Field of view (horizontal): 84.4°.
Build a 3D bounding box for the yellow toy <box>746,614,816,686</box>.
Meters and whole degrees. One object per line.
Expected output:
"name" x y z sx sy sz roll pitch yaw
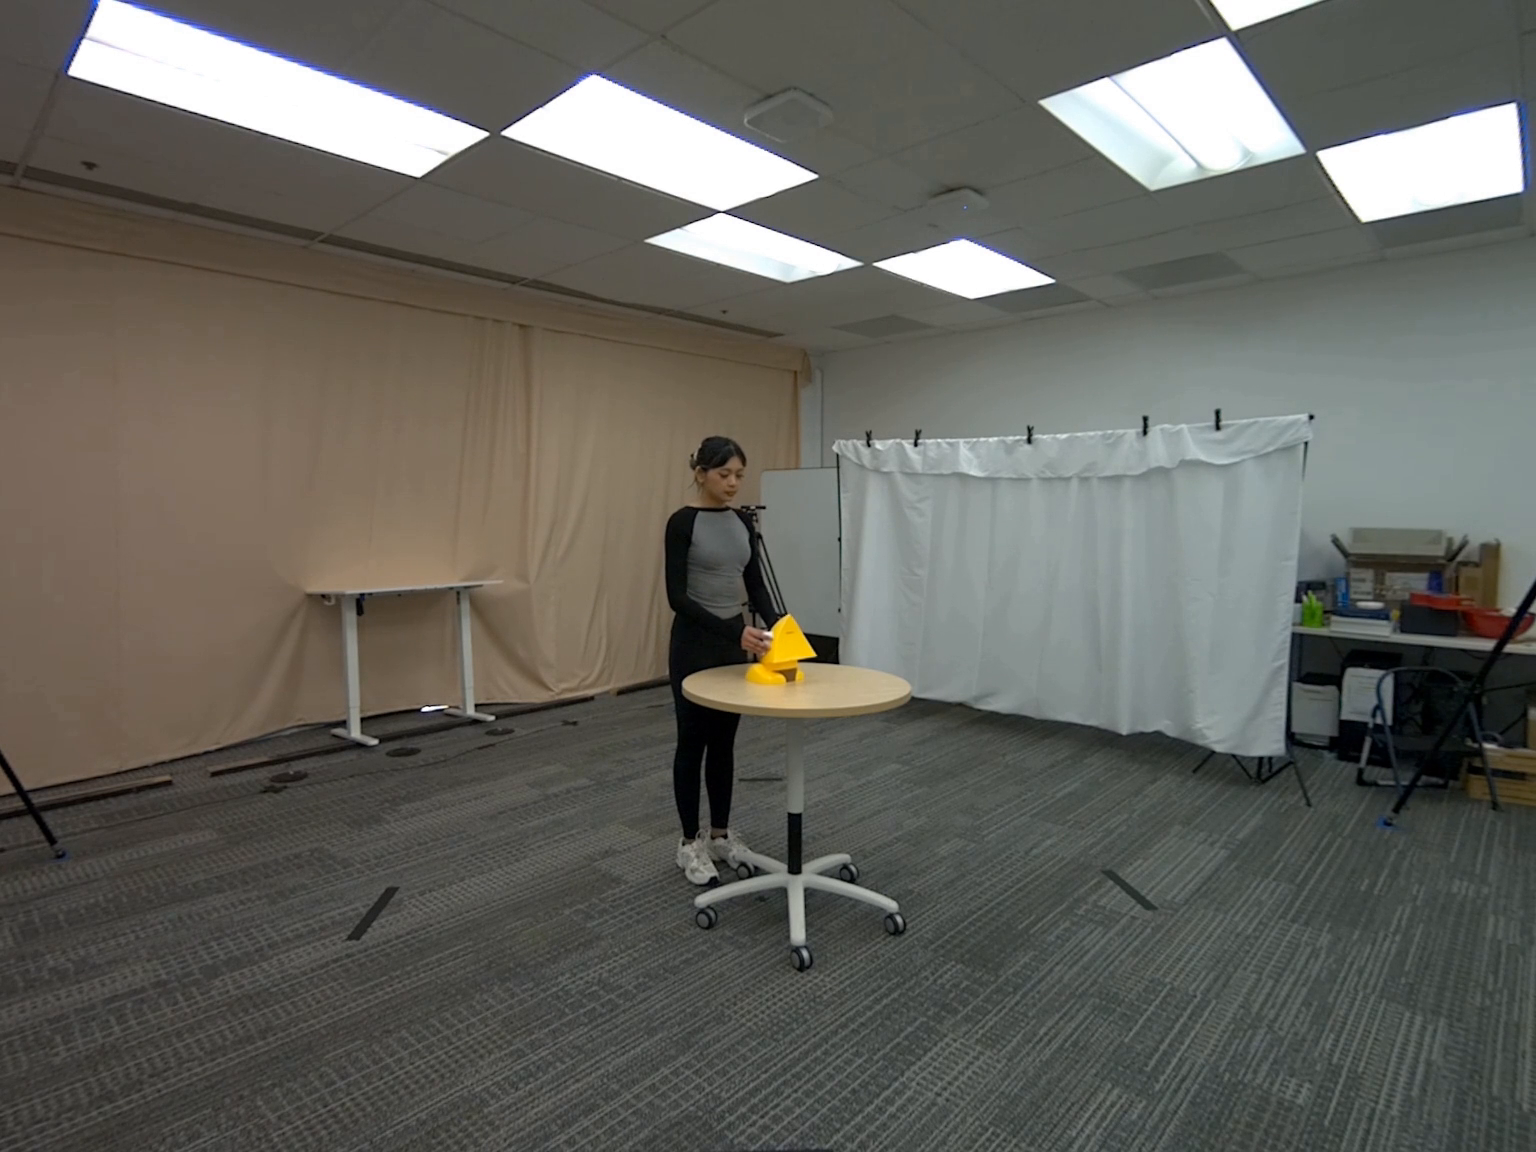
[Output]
"yellow toy" 0.036 0.242 2.911 0.198 0.230 0.199 -4 4 -42
